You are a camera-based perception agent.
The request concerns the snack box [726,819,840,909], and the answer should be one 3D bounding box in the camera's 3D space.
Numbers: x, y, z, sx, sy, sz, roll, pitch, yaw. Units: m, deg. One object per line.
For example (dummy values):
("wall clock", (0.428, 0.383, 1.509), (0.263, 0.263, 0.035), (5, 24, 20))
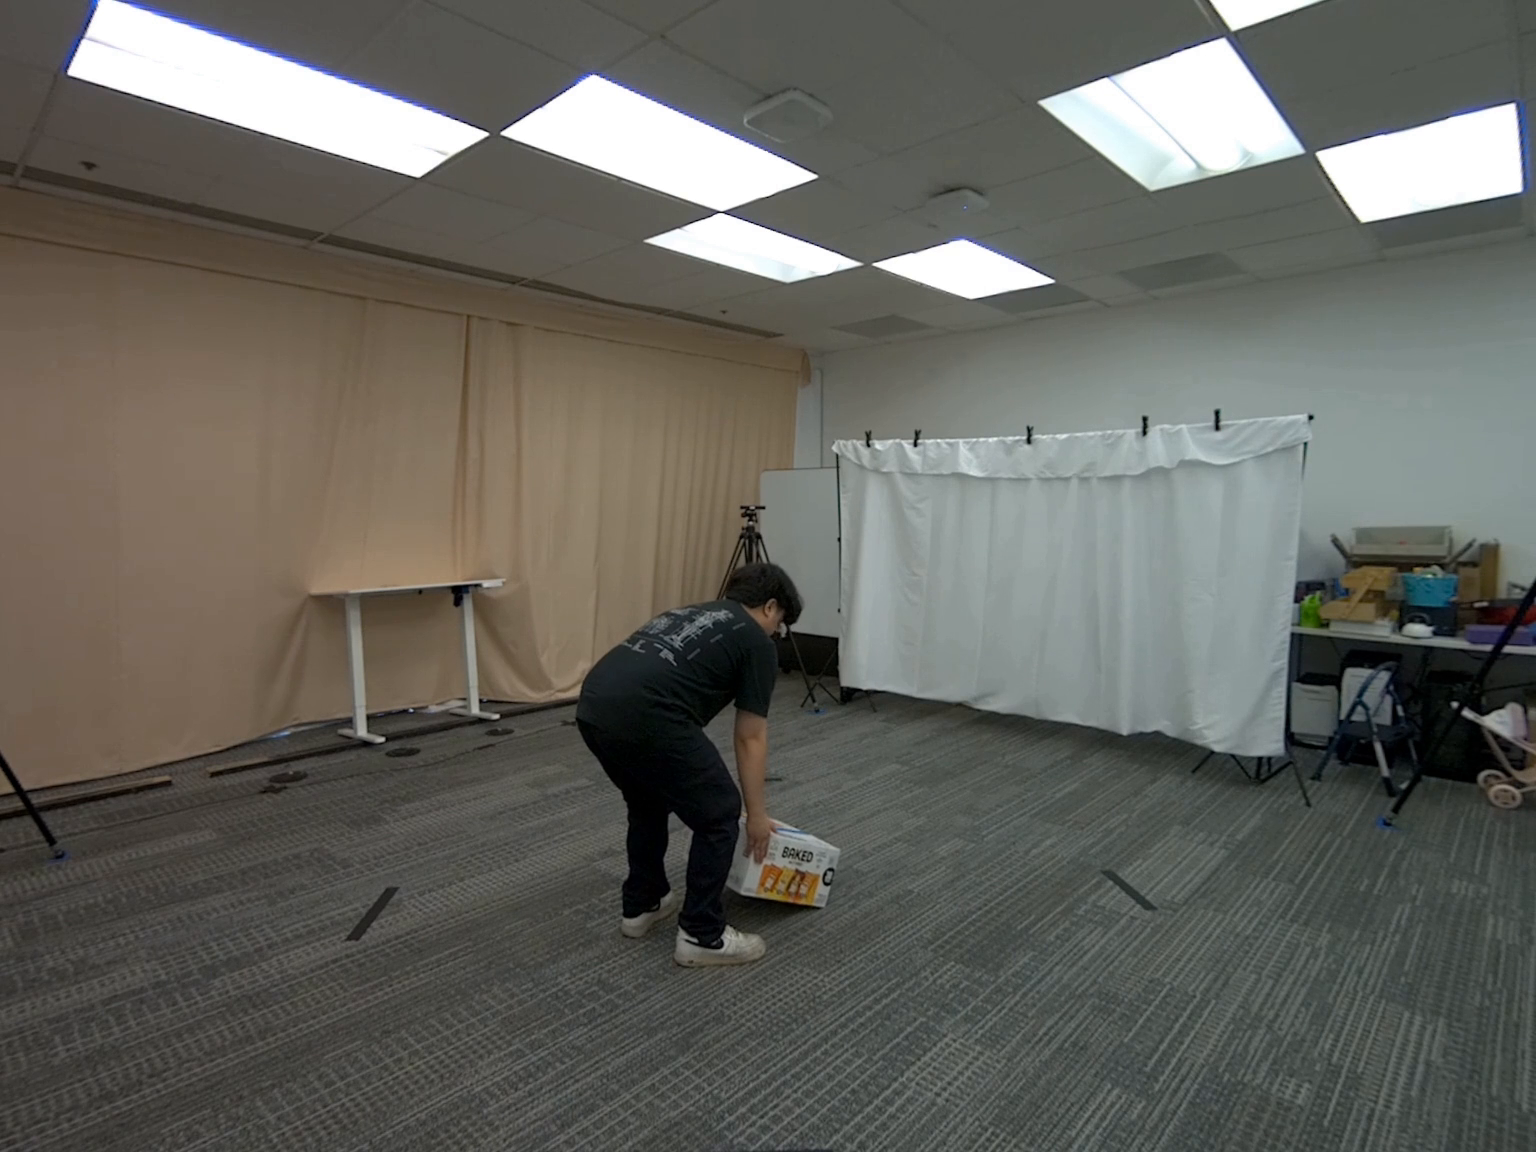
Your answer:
("snack box", (-0.021, 0.979, 2.951), (0.391, 0.206, 0.351), (25, -12, -37))
